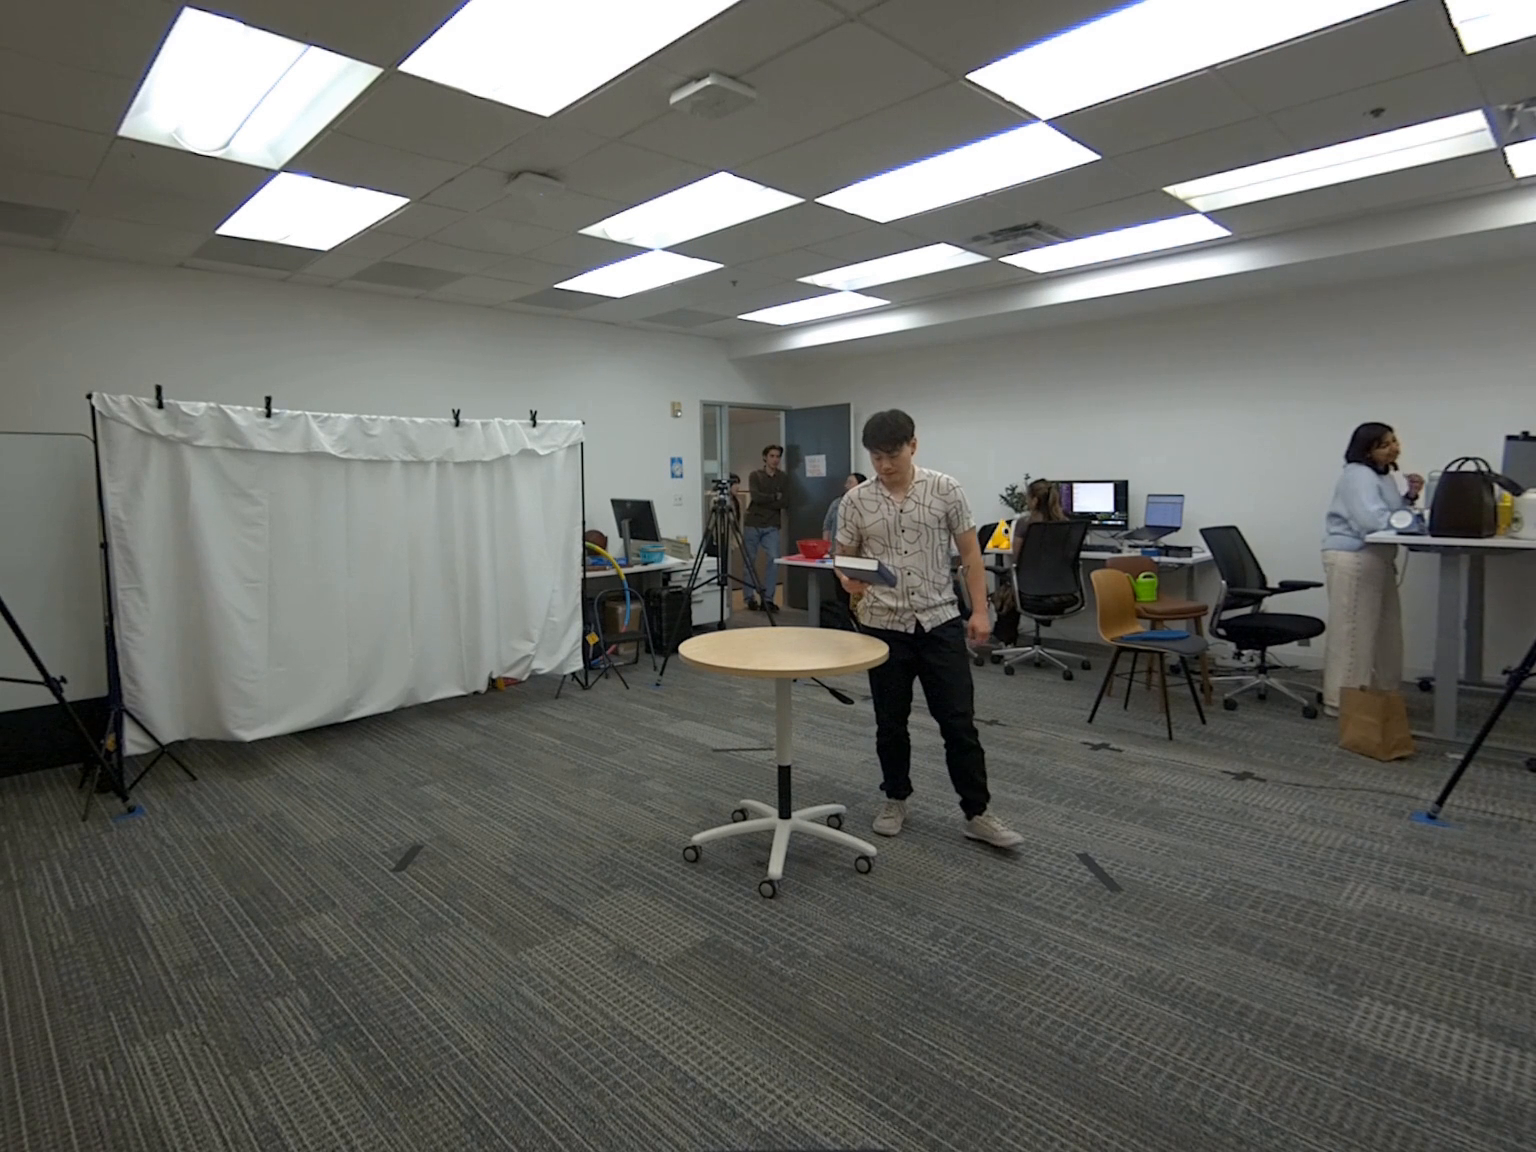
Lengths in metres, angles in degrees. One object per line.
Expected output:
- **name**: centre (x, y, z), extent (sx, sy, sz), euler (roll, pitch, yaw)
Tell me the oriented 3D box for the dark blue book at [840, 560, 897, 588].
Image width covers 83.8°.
- **dark blue book**: centre (0.348, -0.016, 3.055), extent (0.167, 0.045, 0.237), euler (7, -12, 24)
